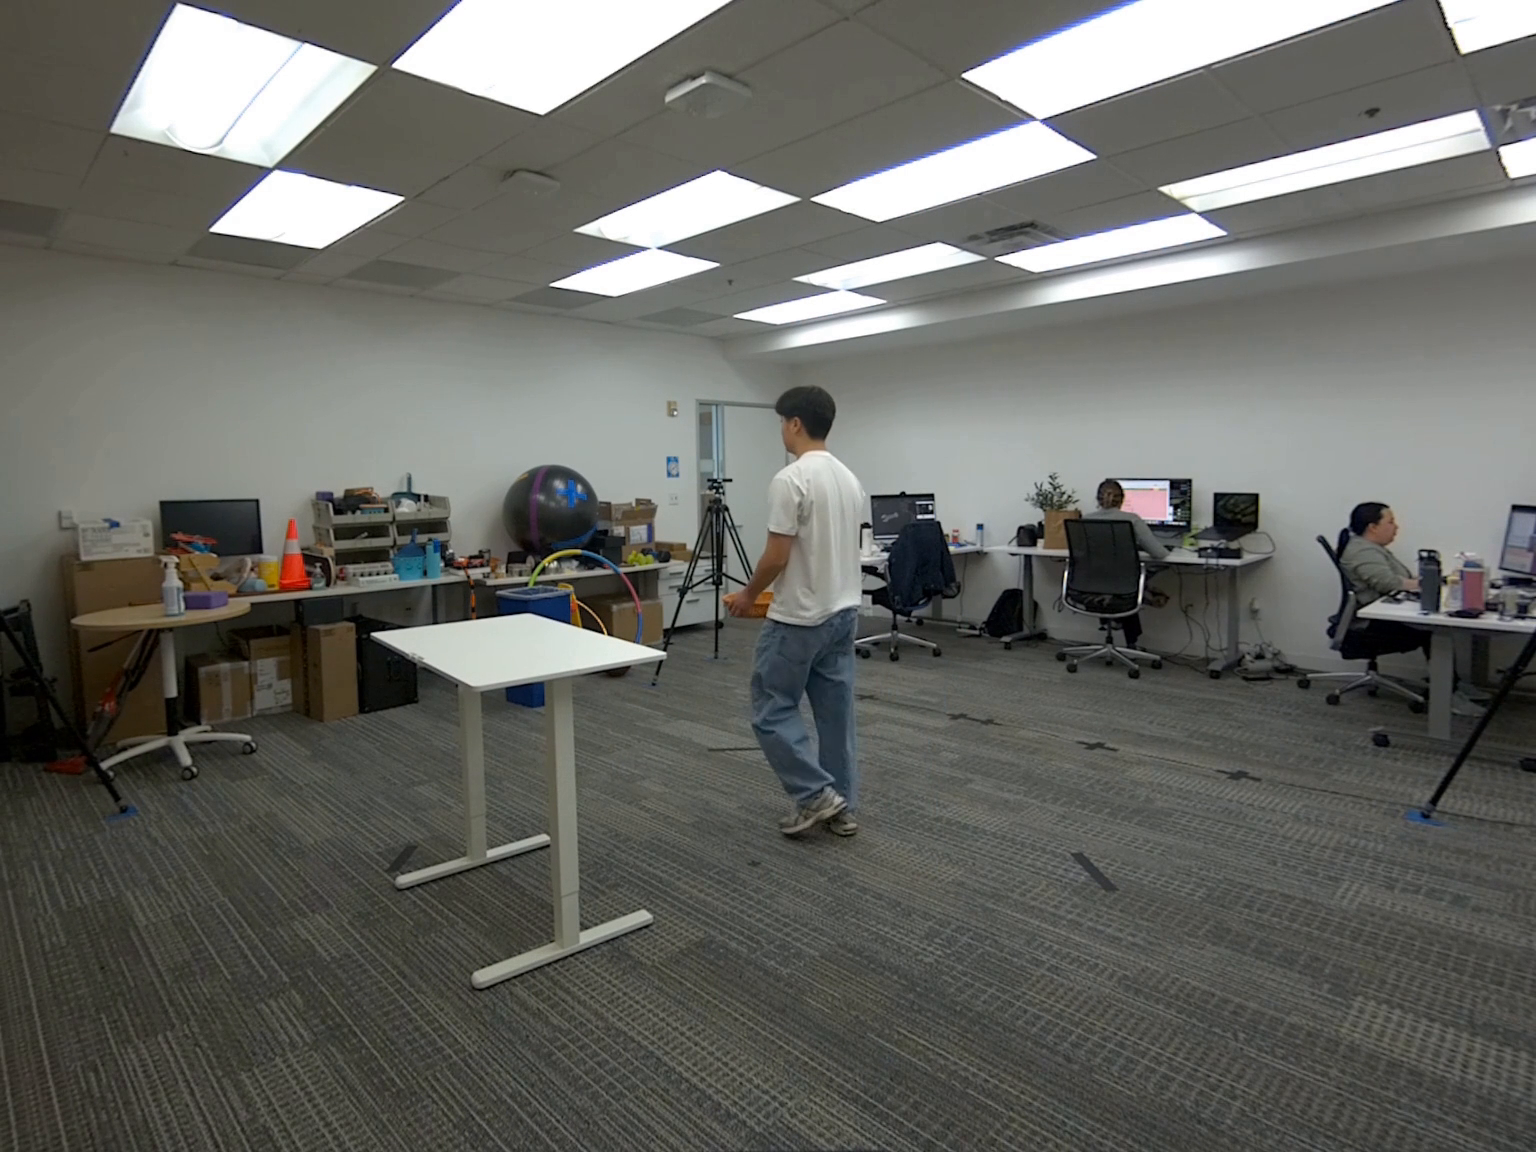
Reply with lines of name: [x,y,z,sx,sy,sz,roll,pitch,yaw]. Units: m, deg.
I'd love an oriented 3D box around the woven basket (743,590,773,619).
woven basket: [-0.004,0.124,3.558,0.341,0.073,0.260,-5,9,-38]
